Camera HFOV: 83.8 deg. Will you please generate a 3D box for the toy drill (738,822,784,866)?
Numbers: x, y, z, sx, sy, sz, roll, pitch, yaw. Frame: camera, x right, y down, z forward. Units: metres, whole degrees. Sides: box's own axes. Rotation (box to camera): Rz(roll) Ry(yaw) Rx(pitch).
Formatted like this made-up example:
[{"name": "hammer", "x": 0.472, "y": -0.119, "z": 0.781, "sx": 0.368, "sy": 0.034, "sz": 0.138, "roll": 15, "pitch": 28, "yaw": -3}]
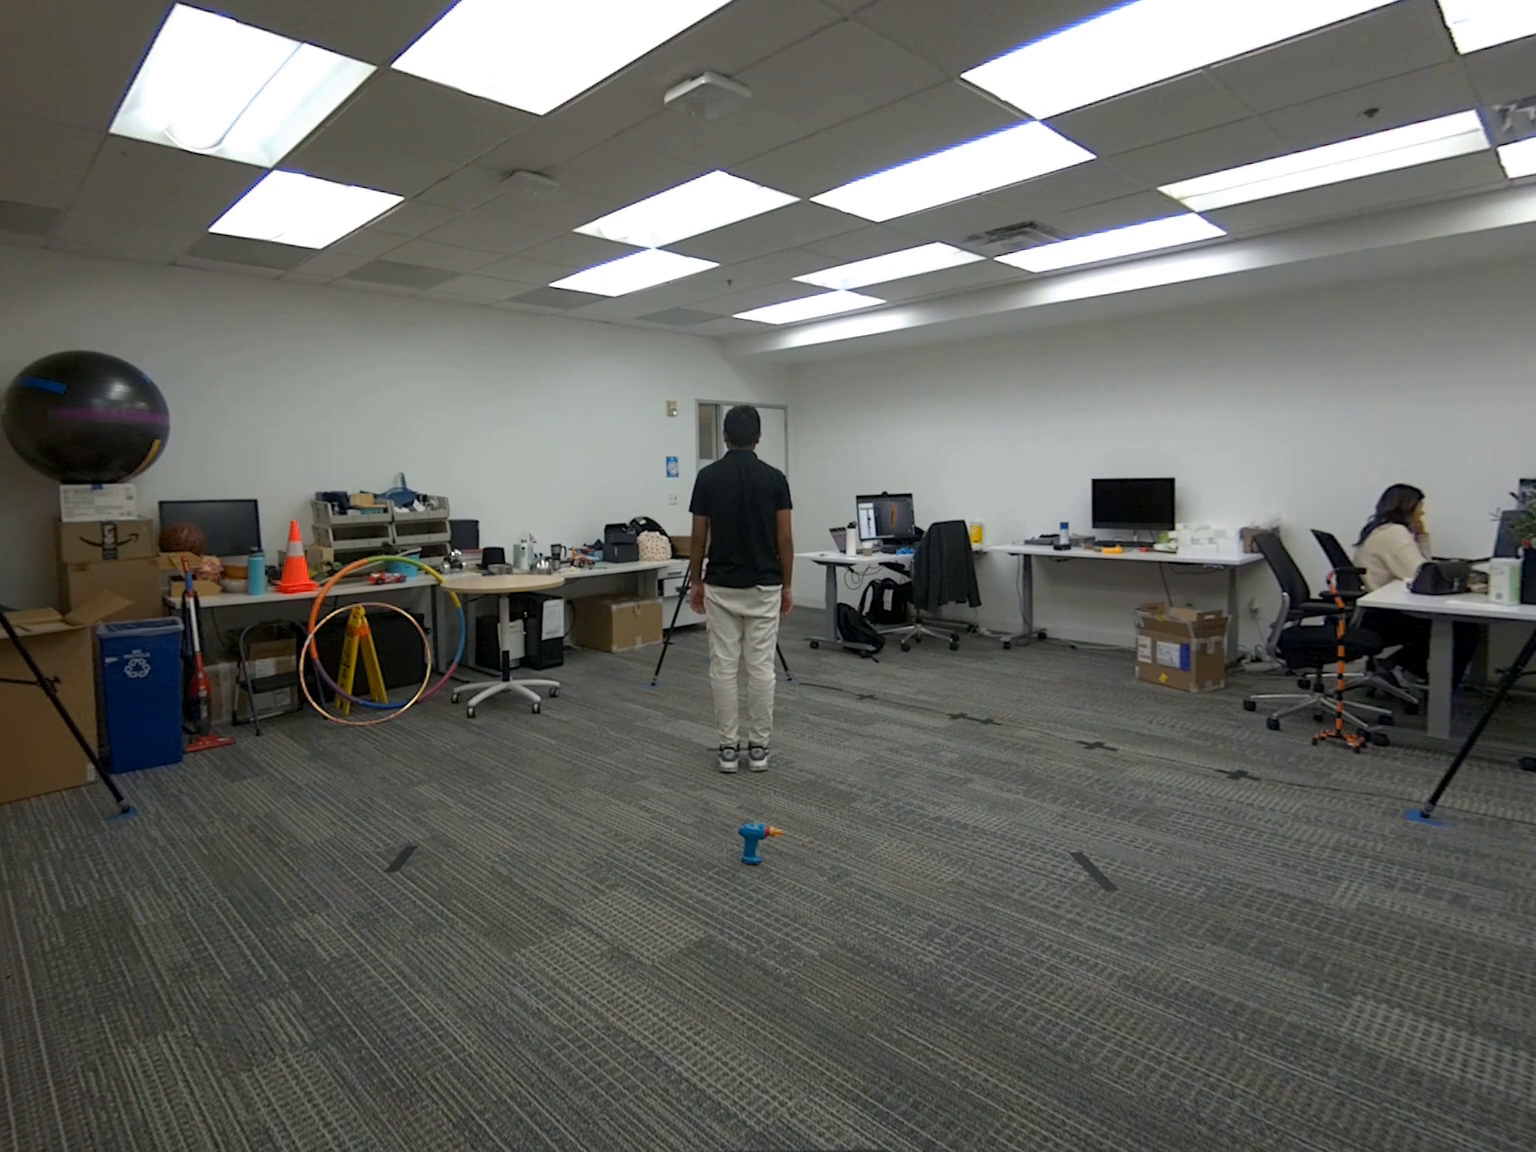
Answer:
[{"name": "toy drill", "x": -0.026, "y": 0.968, "z": 3.105, "sx": 0.170, "sy": 0.146, "sz": 0.061, "roll": -2, "pitch": 3, "yaw": 0}]
